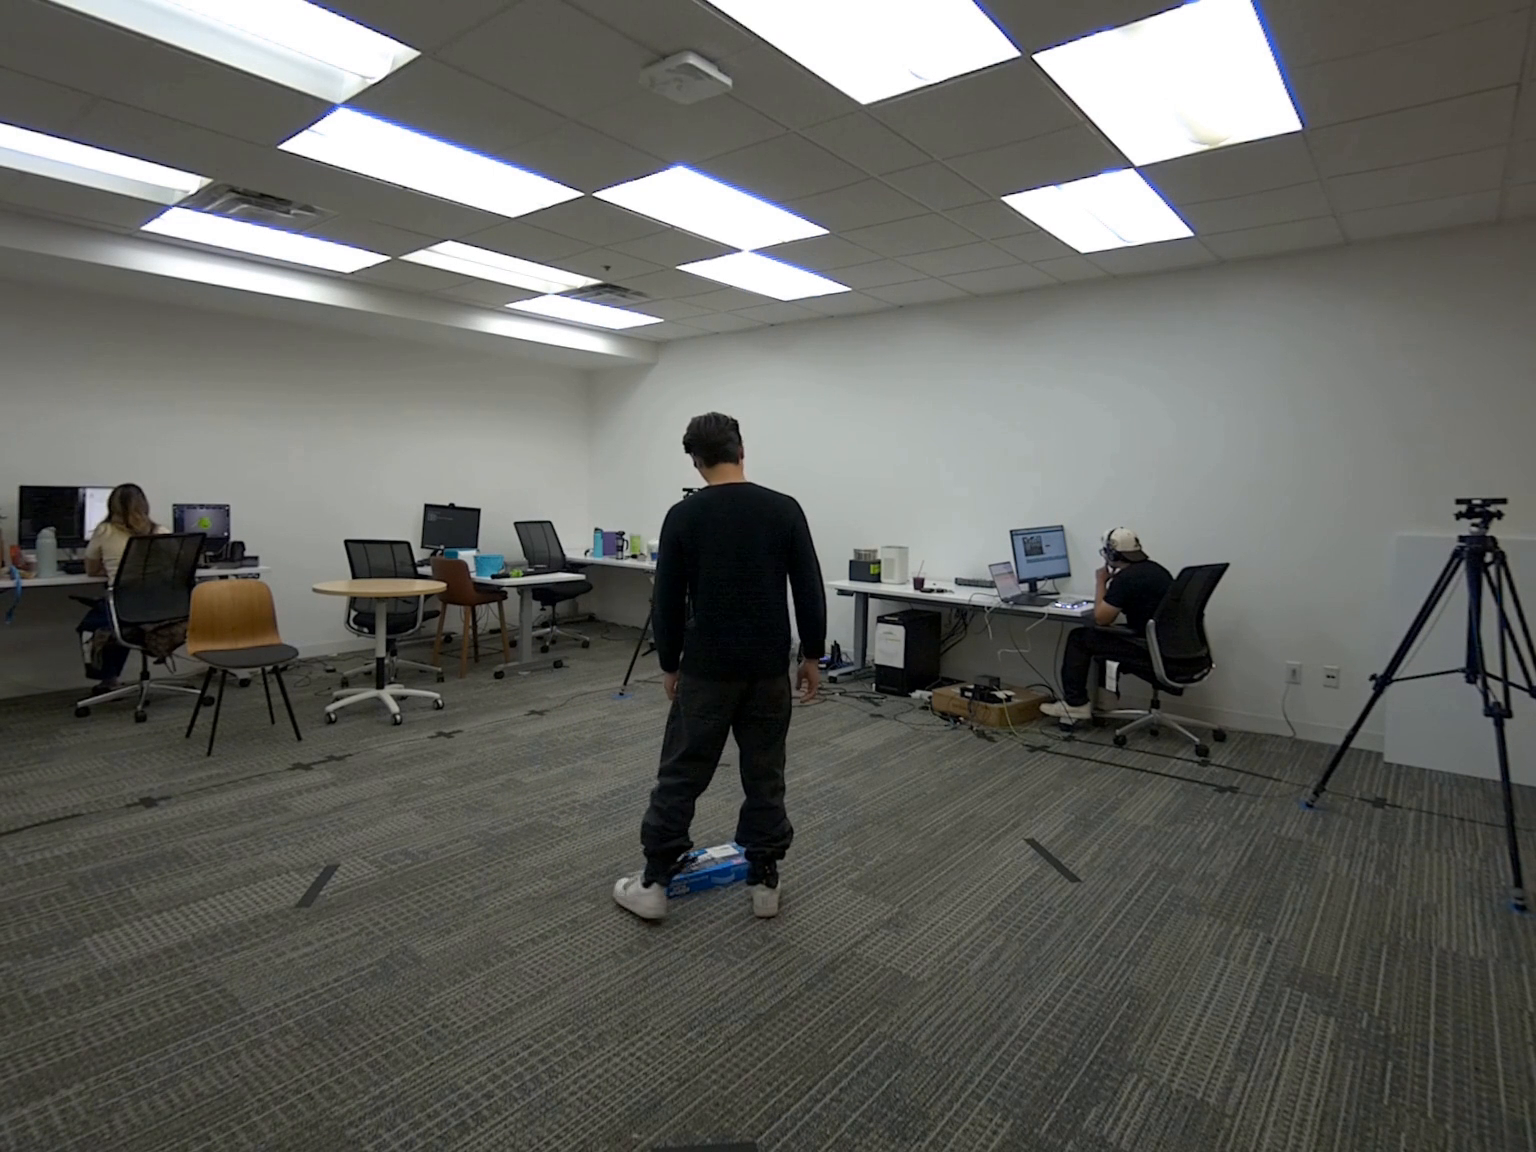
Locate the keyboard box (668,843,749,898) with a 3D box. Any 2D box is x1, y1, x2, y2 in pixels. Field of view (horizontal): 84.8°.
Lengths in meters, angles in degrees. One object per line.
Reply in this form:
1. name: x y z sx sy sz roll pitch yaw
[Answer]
1. keyboard box: -0.218 1.043 3.063 0.425 0.059 0.181 -2 6 -32
